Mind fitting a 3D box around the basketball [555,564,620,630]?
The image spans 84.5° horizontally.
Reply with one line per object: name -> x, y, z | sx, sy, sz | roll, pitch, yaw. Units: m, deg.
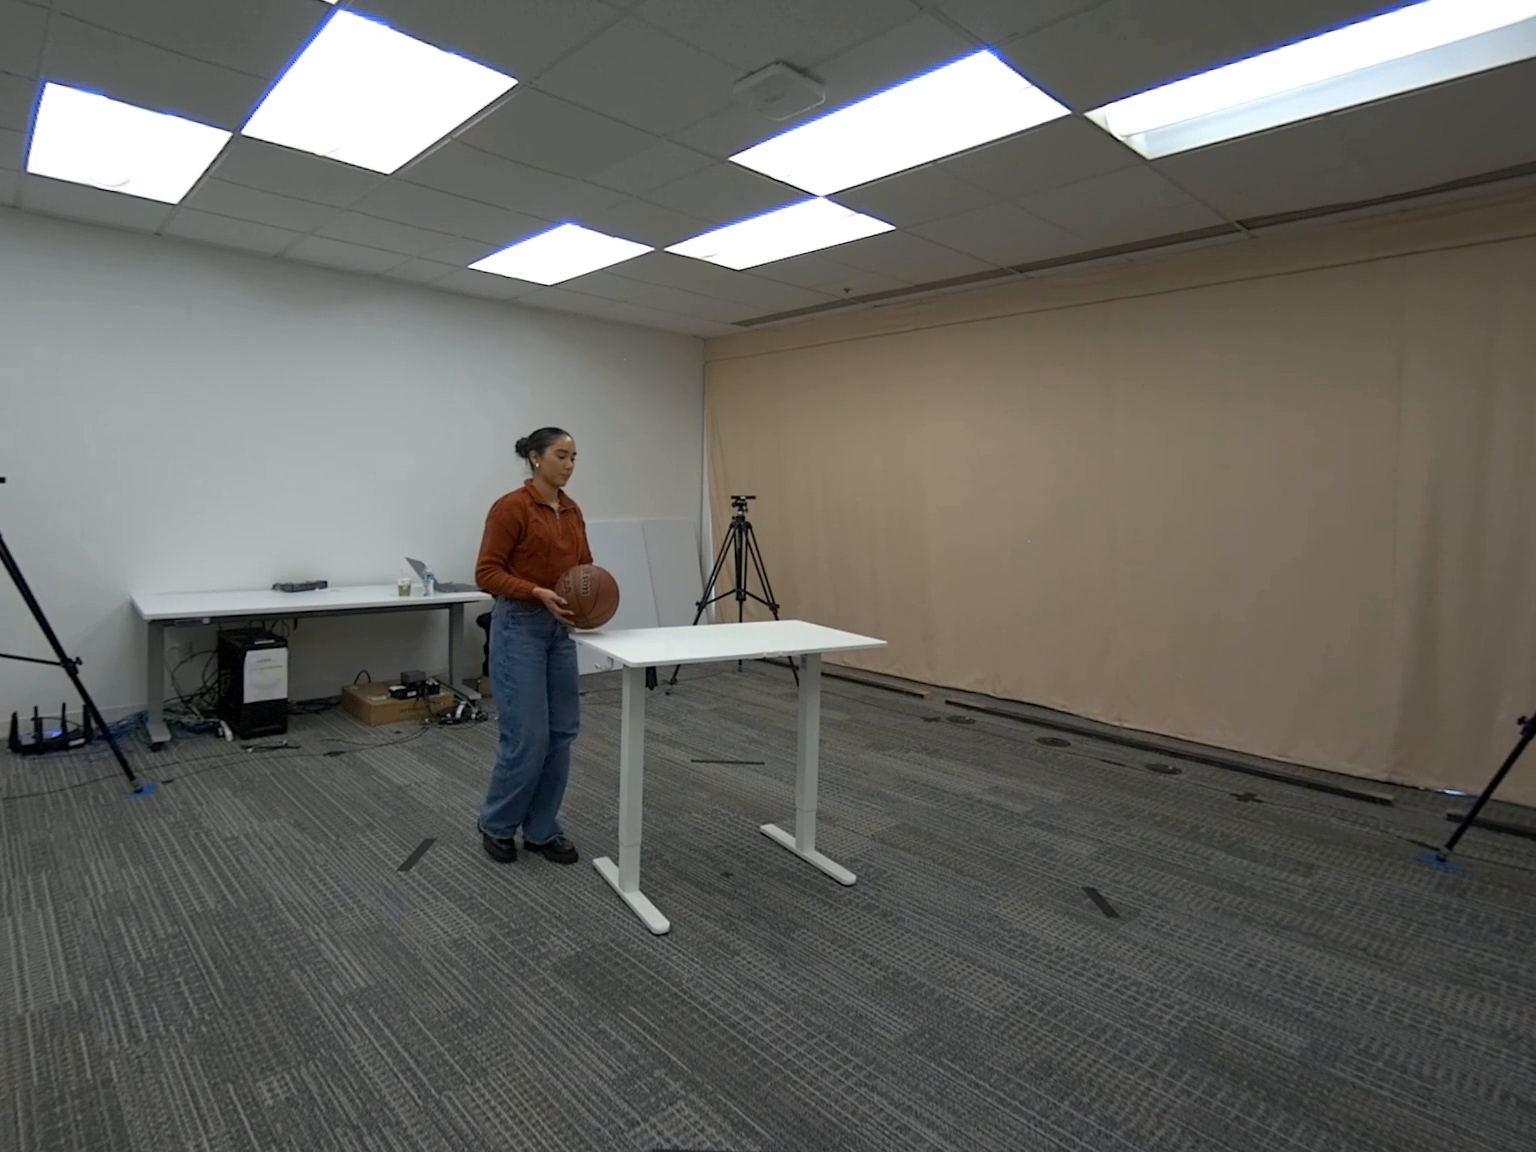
basketball -> -0.664, 0.073, 3.048 | 0.236, 0.235, 0.237 | 1, 4, -1
